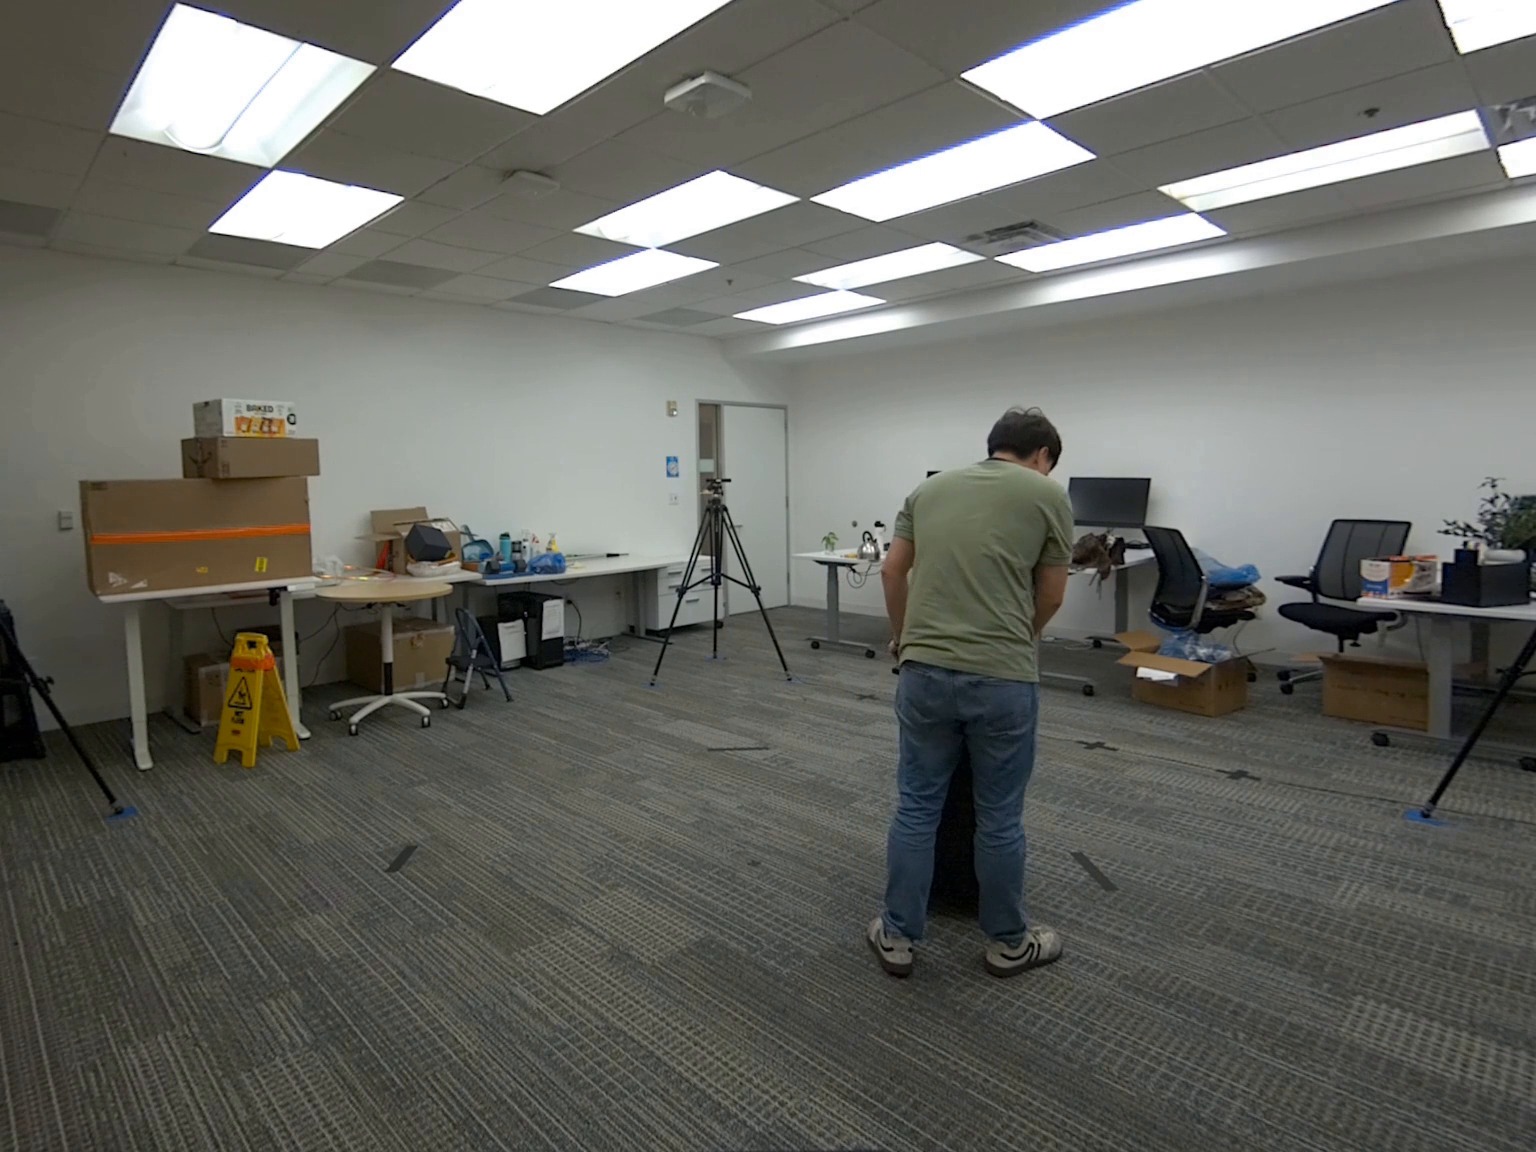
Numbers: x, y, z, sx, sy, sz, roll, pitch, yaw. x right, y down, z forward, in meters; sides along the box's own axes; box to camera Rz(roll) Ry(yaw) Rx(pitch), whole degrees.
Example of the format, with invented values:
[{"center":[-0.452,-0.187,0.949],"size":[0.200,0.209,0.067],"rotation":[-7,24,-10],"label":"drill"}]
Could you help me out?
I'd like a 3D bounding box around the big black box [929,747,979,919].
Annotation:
[{"center":[0.657,0.637,2.873],"size":[0.403,0.859,0.513],"rotation":[0,4,19],"label":"big black box"}]
